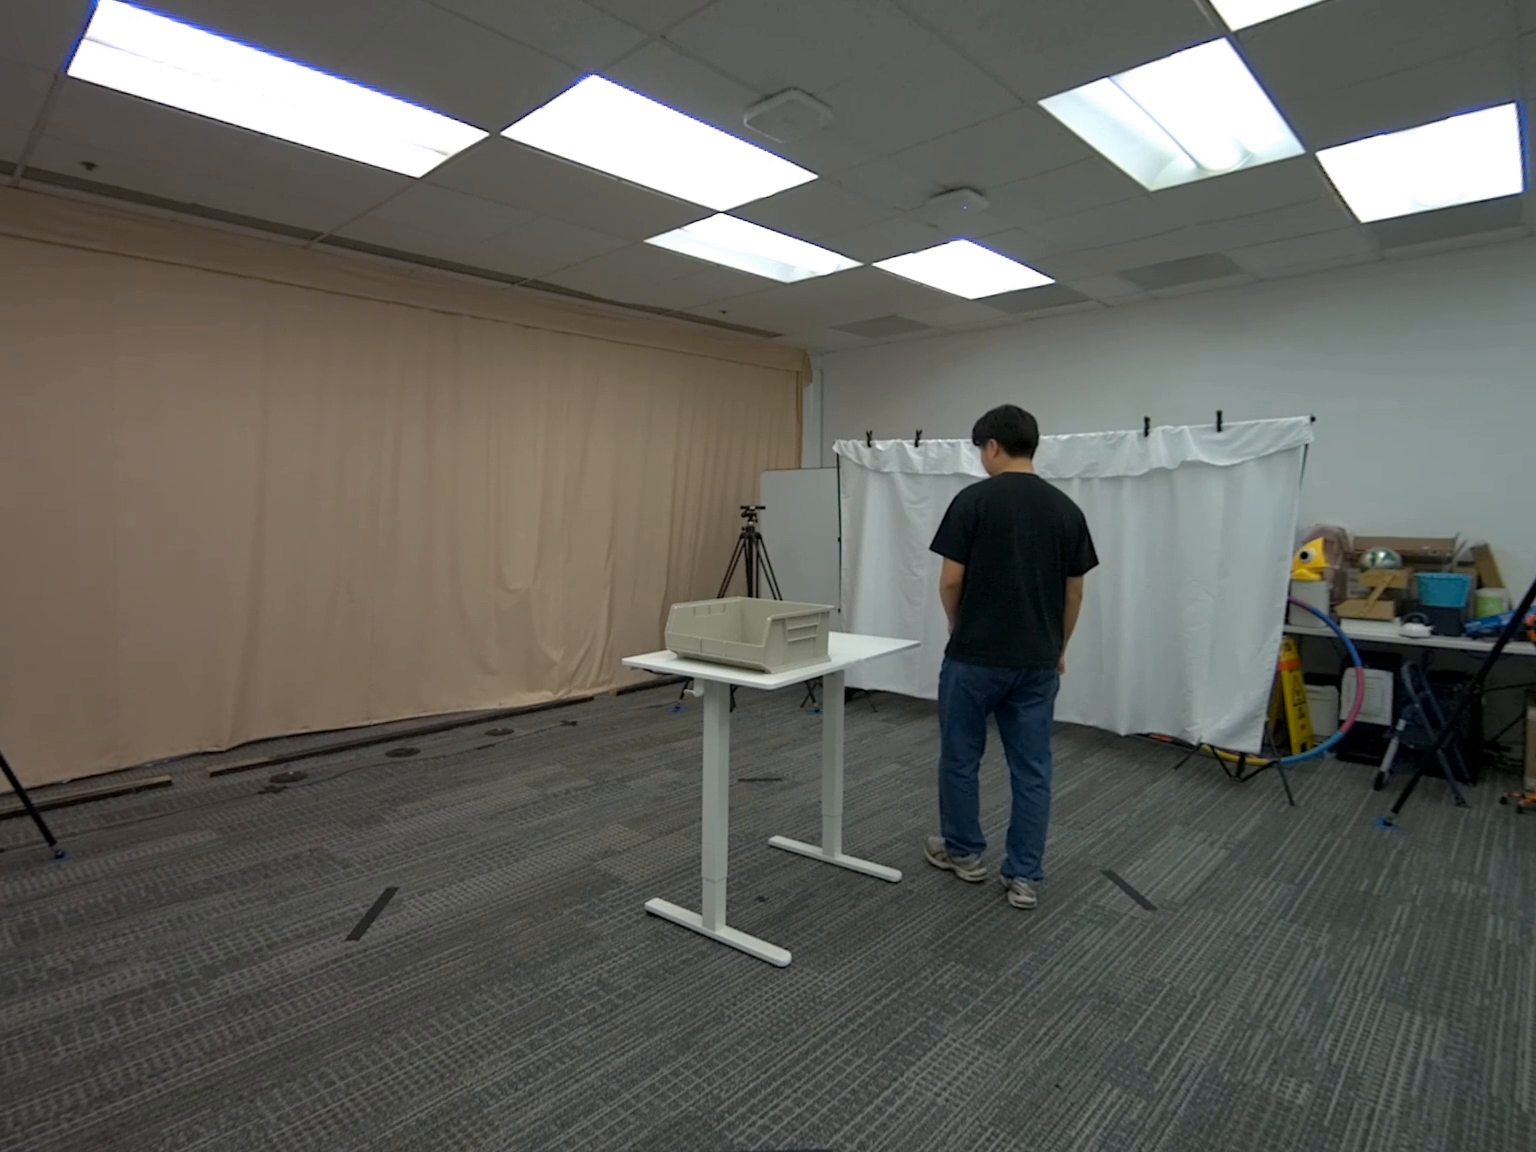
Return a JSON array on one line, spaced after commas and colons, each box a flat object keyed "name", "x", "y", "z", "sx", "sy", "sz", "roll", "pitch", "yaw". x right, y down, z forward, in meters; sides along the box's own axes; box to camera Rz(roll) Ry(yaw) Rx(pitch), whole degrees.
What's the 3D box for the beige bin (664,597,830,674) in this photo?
[{"name": "beige bin", "x": -0.059, "y": 0.192, "z": 2.762, "sx": 0.436, "sy": 0.189, "sz": 0.365, "roll": 4, "pitch": 4, "yaw": 39}]
